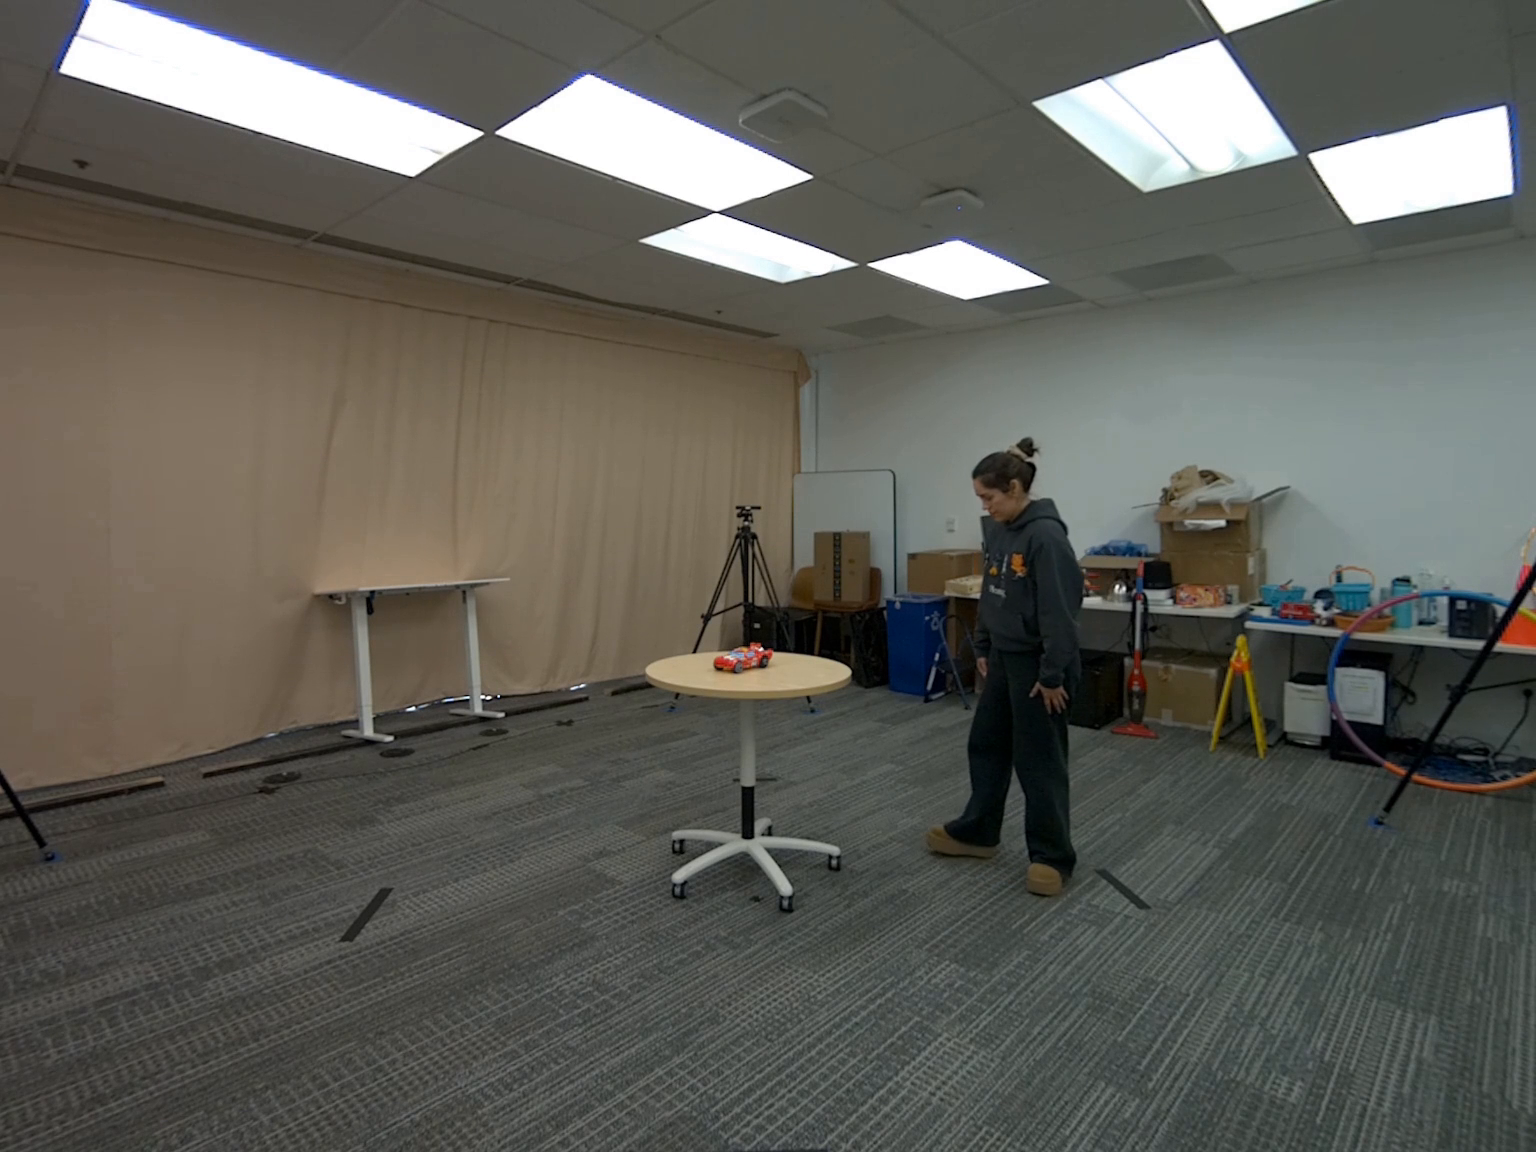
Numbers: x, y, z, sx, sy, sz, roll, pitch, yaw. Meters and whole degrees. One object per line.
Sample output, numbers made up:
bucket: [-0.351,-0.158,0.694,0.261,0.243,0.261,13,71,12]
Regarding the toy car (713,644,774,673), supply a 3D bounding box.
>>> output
toy car: [-0.069,0.316,3.169,0.134,0.082,0.248,3,17,42]
